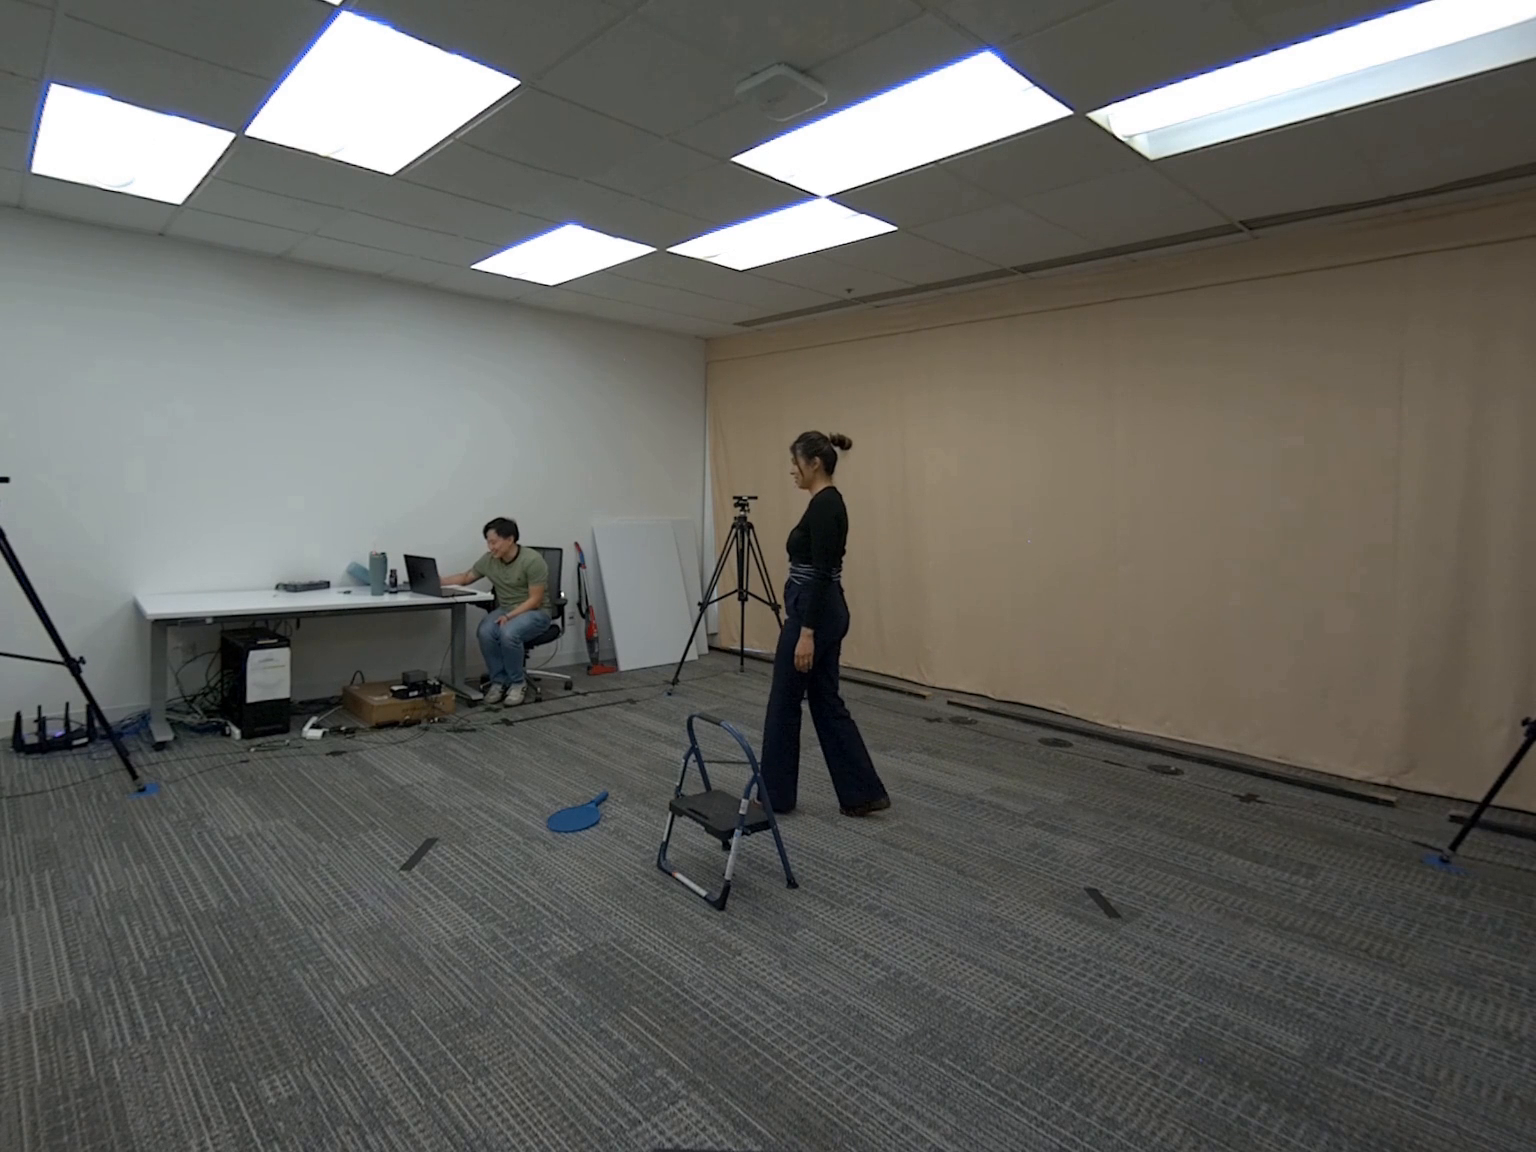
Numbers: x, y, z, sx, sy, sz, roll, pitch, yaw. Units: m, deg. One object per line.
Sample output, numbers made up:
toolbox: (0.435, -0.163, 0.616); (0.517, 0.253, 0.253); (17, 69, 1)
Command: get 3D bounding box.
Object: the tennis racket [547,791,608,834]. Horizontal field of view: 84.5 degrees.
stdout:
tennis racket: (-0.812, 1.024, 3.662); (0.216, 0.031, 0.429); (2, 6, 14)
